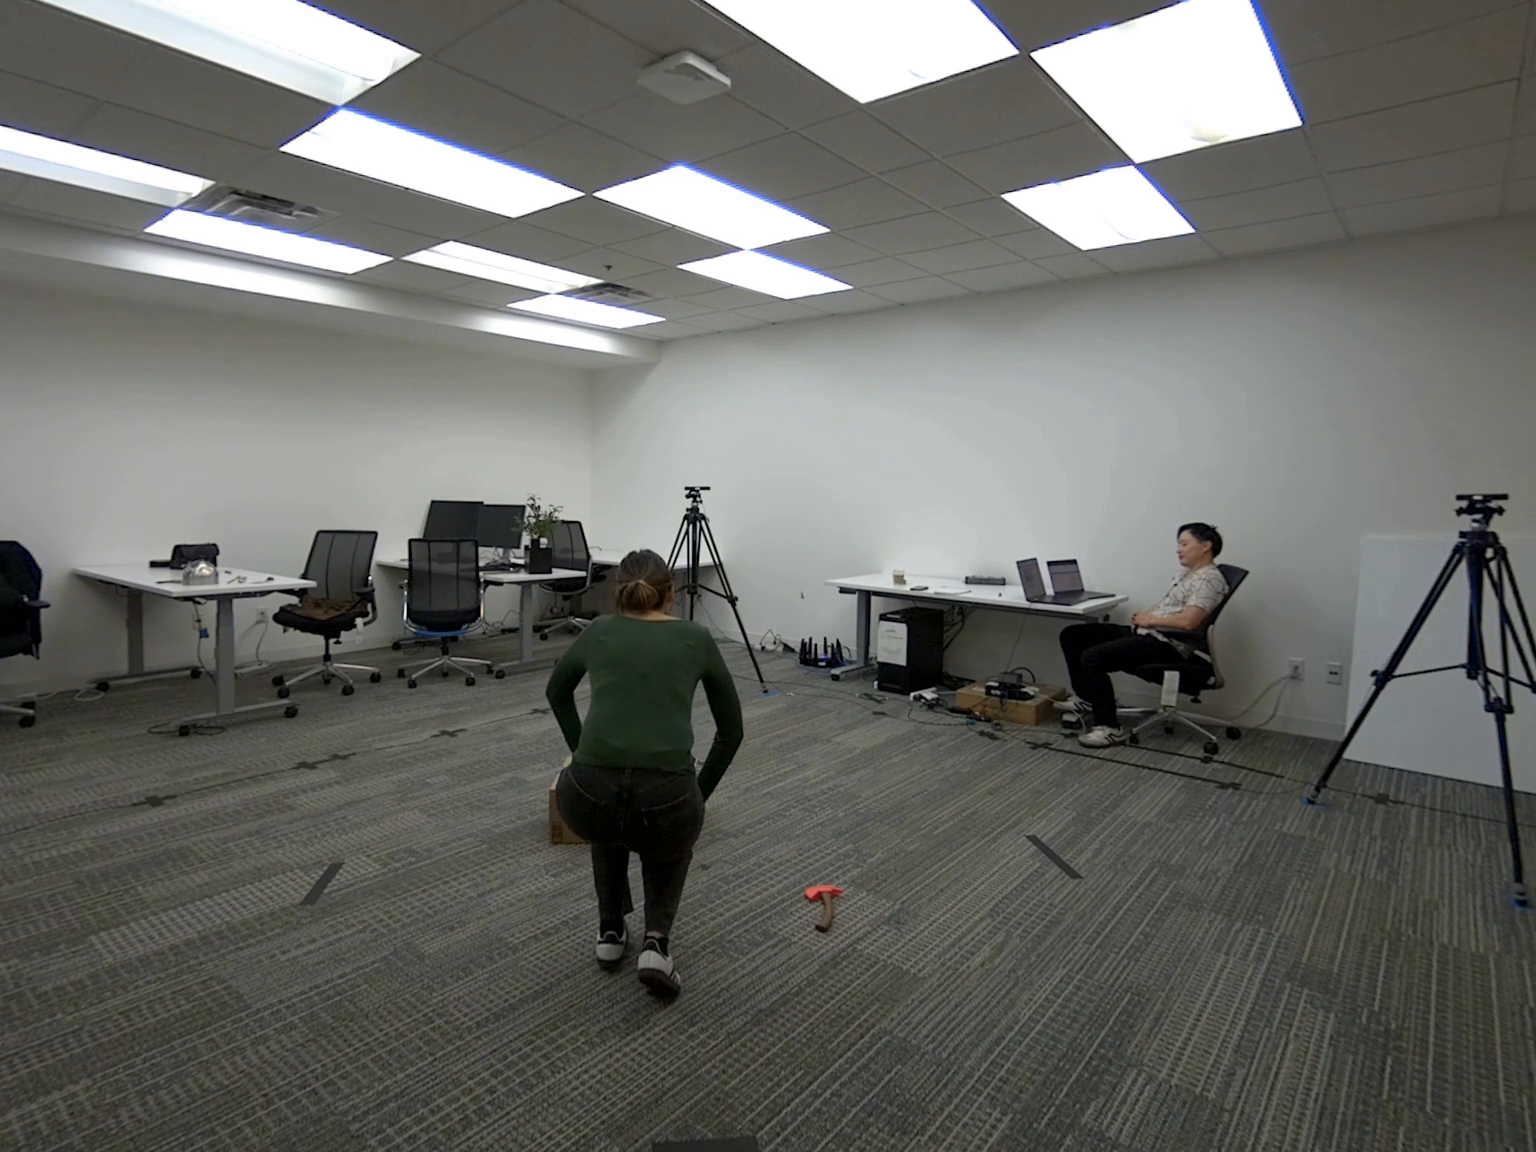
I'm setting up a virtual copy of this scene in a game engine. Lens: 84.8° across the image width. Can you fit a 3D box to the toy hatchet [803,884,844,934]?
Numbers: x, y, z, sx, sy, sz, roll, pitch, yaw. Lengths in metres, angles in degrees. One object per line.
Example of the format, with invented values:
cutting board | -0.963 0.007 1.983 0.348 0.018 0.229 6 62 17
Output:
toy hatchet | 0.160 1.089 2.812 0.133 0.029 0.266 3 7 17
